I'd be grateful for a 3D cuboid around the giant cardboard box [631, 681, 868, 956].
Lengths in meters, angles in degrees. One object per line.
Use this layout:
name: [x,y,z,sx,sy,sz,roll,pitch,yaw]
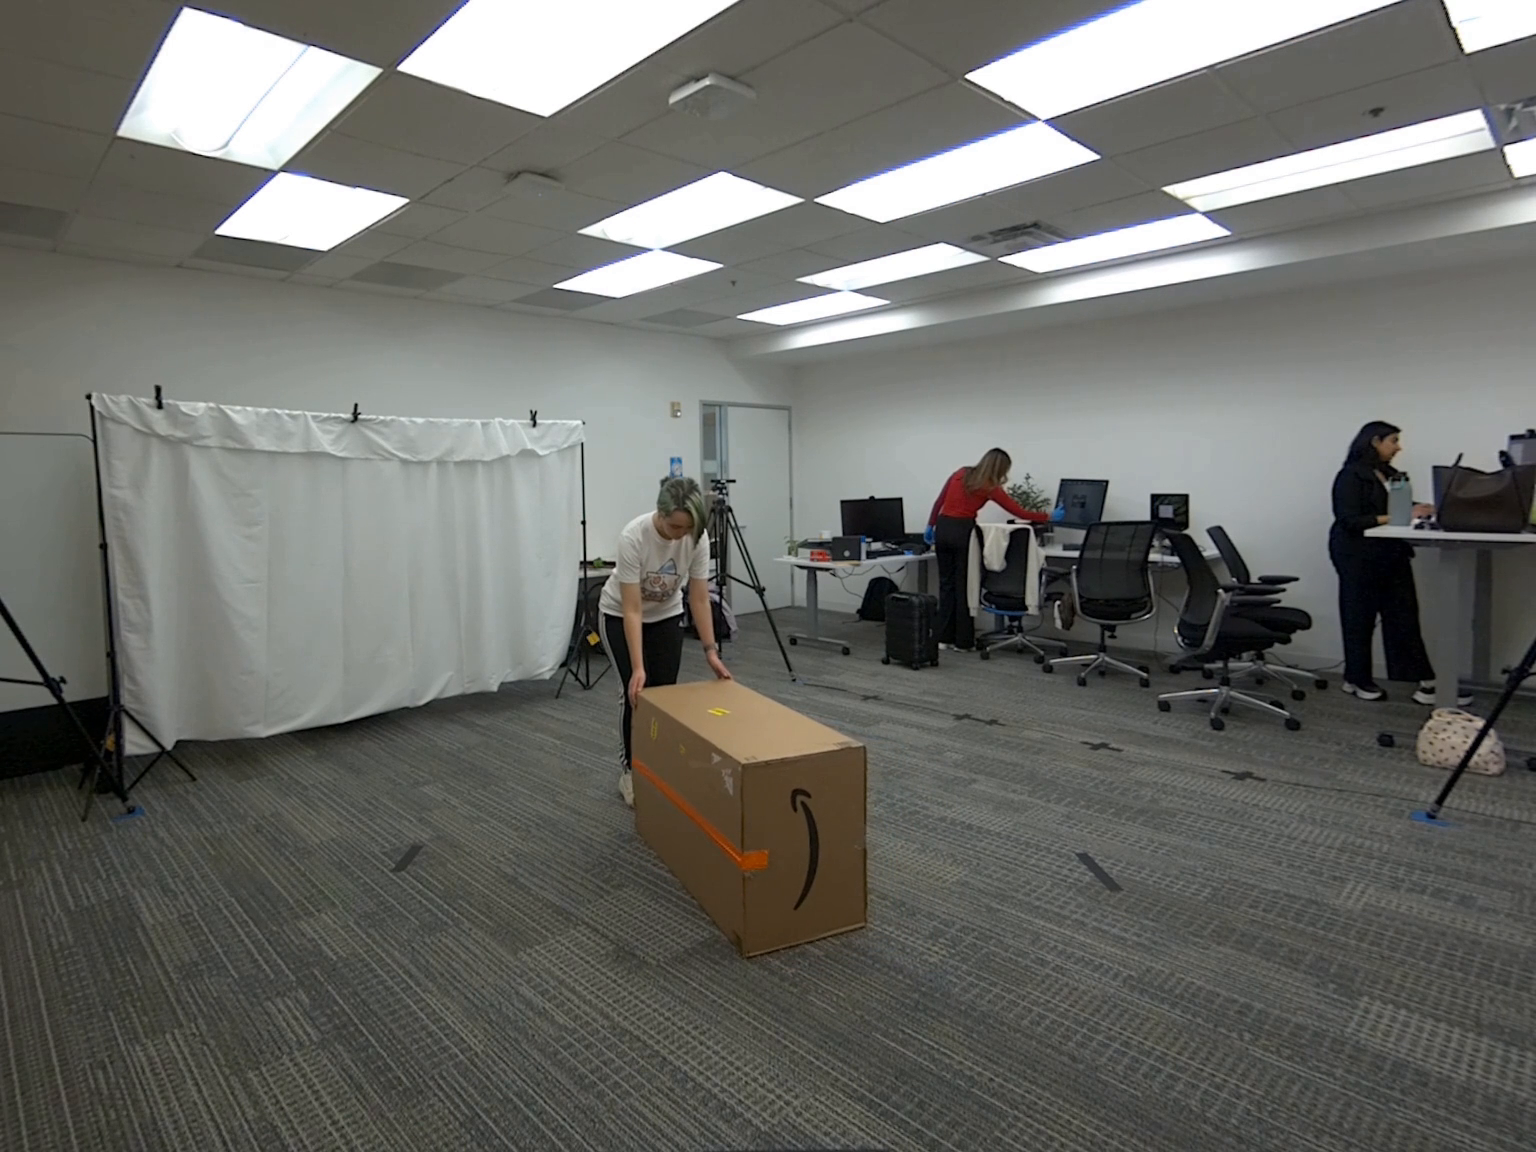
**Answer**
giant cardboard box: [-0.112,0.771,3.020,0.437,0.581,1.053,-4,6,-26]
